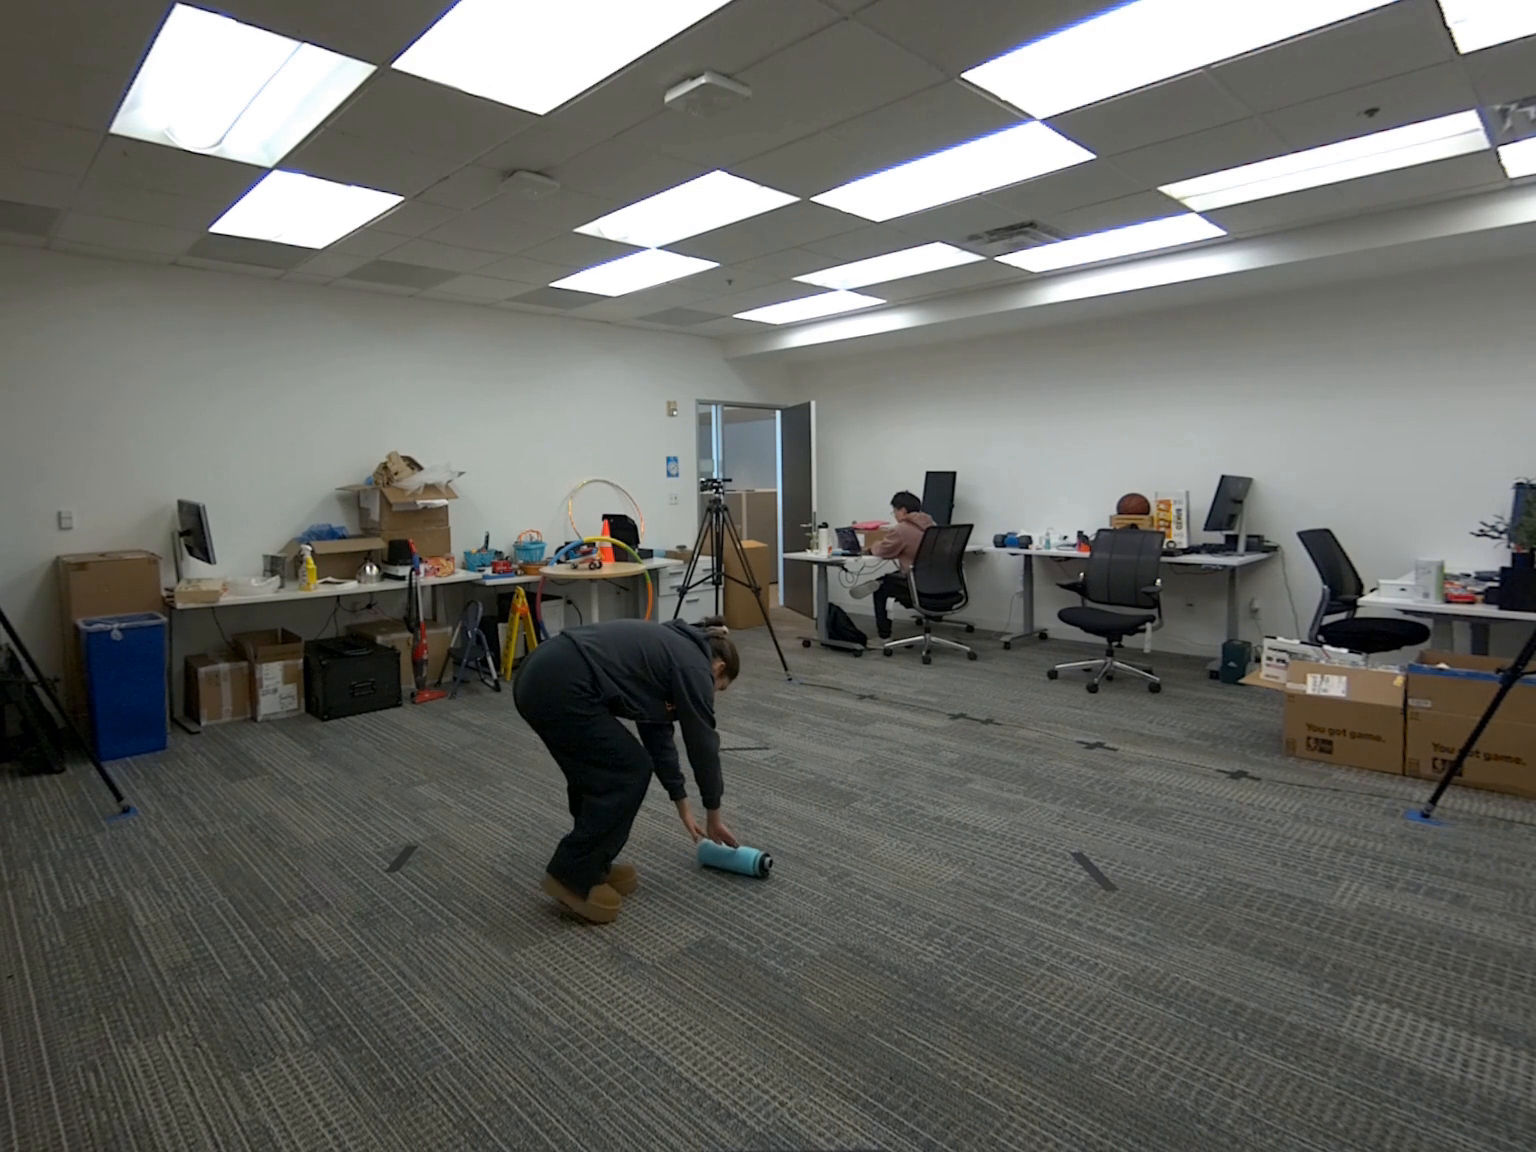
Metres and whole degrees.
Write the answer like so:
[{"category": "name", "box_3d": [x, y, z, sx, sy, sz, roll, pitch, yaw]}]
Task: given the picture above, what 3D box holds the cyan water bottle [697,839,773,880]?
[{"category": "cyan water bottle", "box_3d": [-0.111, 1.004, 3.028, 0.290, 0.092, 0.090, 1, 5, 29]}]
